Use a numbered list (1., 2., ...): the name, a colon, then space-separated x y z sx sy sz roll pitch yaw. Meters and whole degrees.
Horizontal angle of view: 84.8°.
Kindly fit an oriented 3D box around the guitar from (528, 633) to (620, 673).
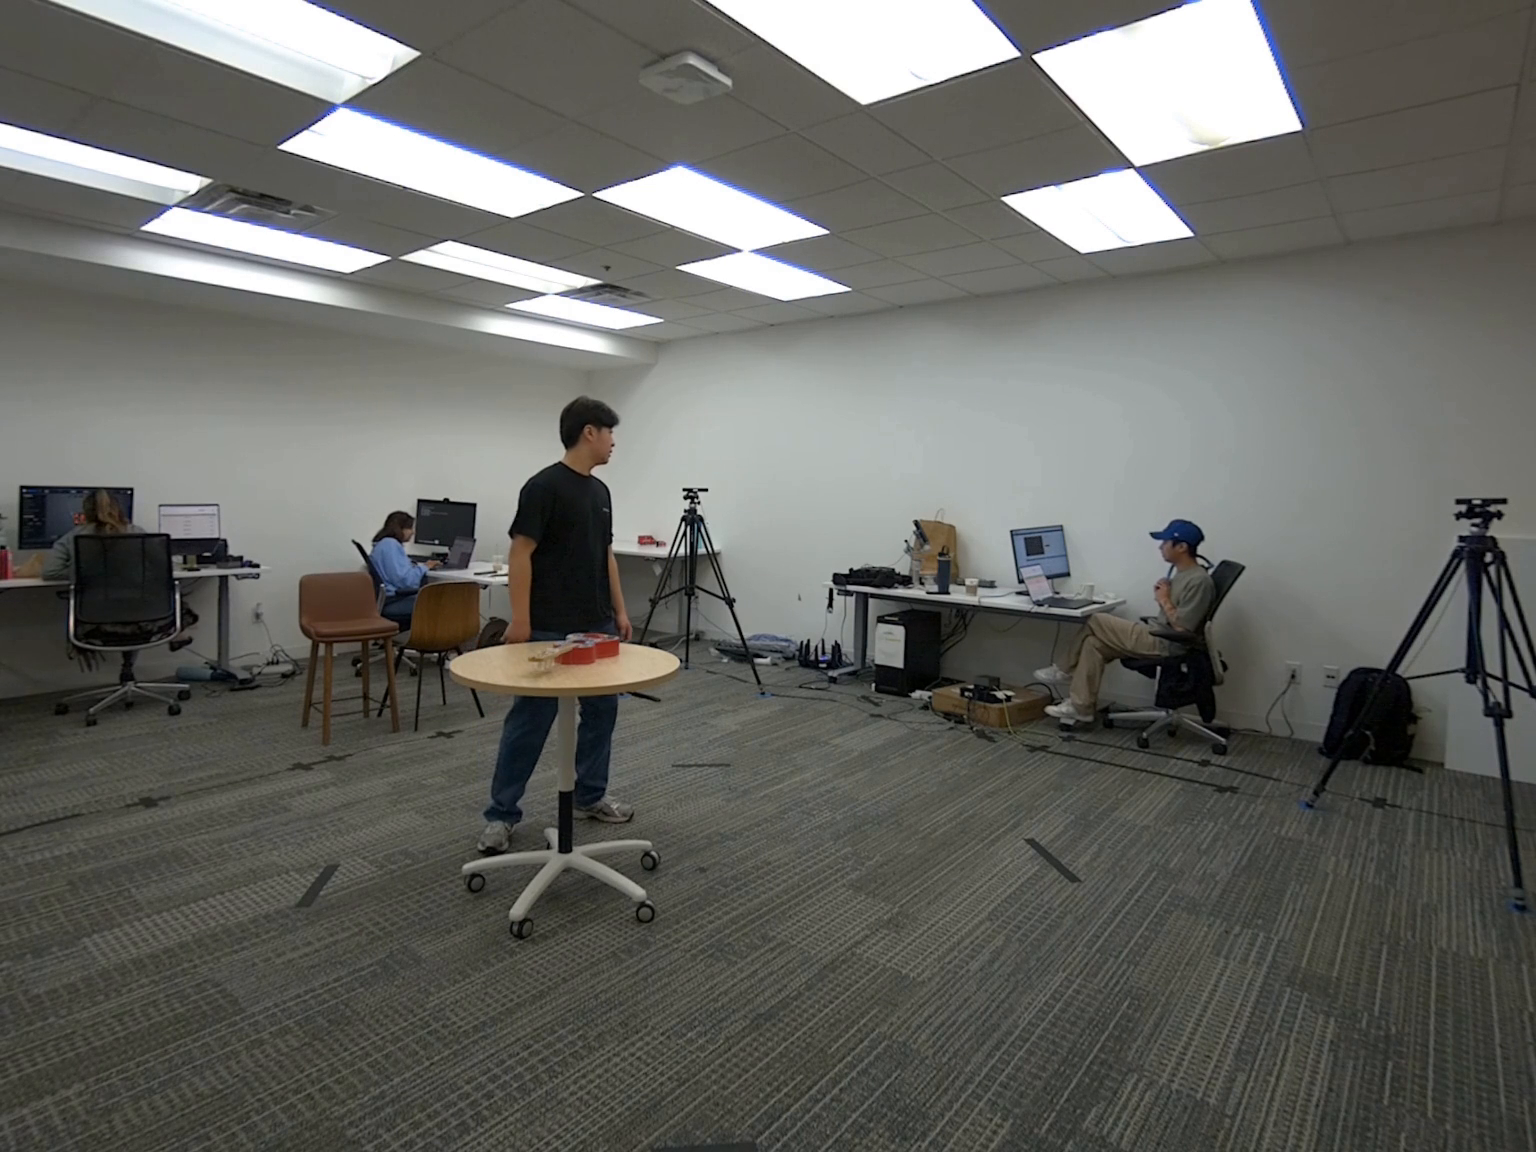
1. guitar: -0.714 0.258 2.861 0.198 0.070 0.488 3 6 22
